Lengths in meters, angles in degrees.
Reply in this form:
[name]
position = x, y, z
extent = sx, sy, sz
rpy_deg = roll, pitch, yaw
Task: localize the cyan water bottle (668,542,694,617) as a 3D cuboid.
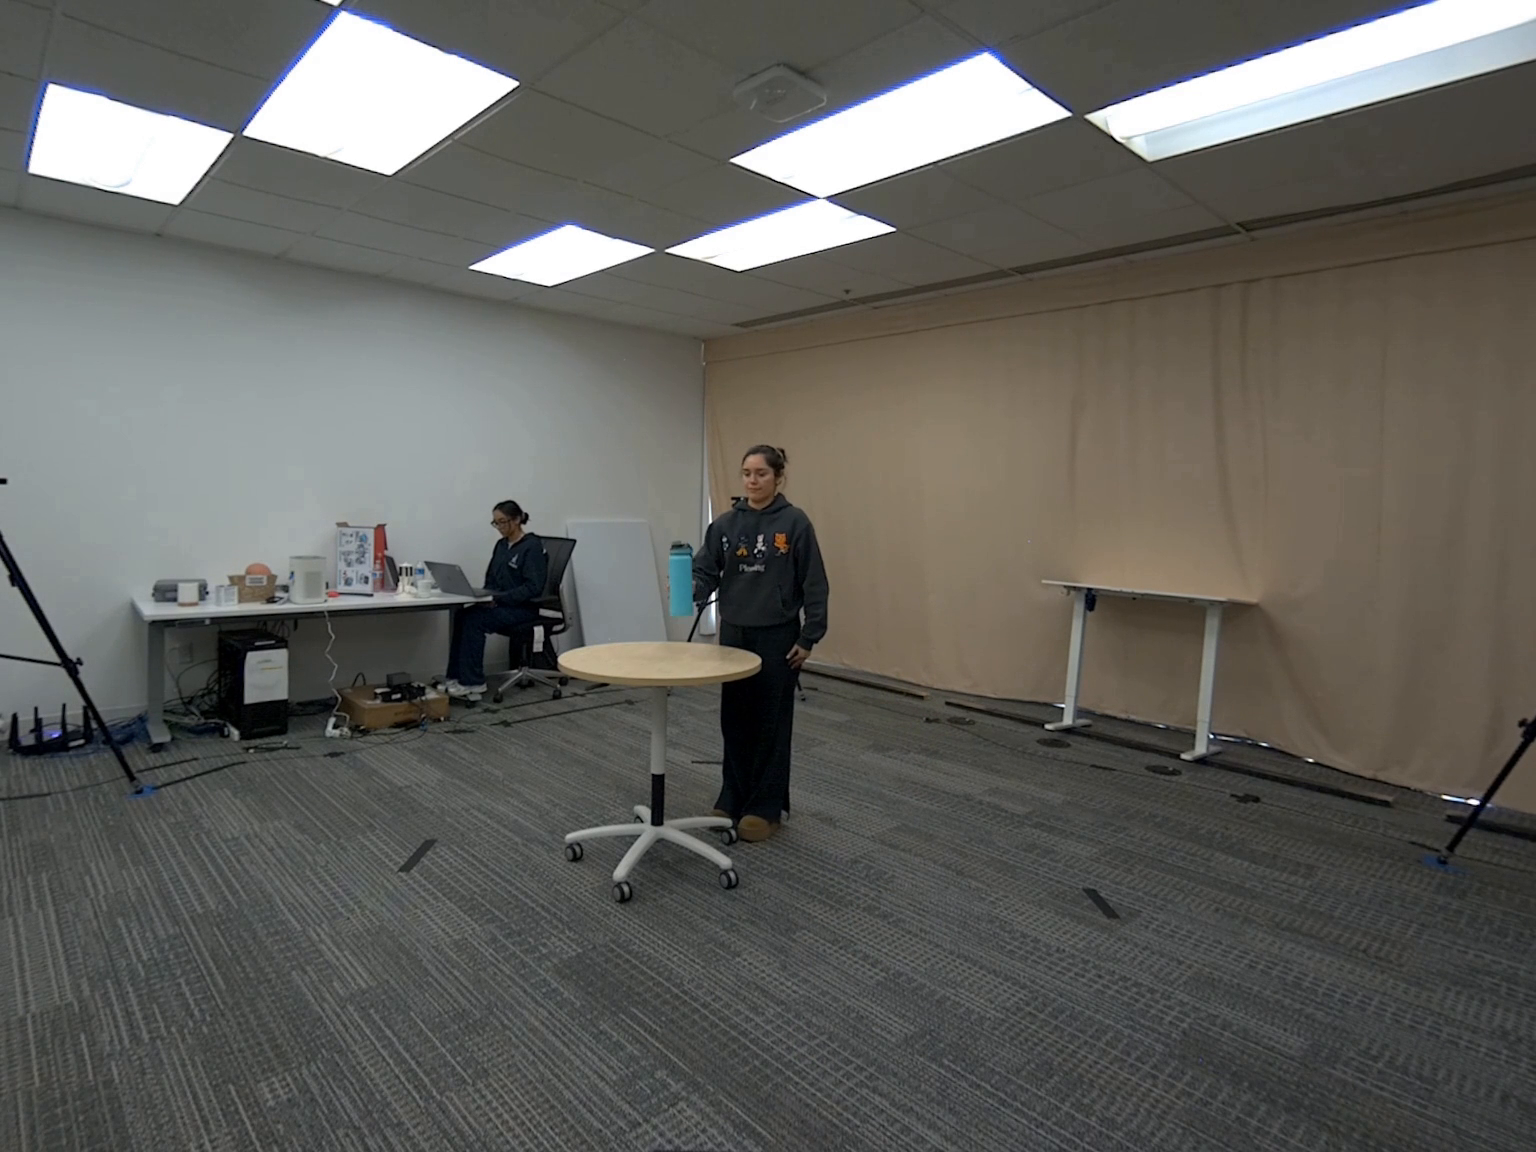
[cyan water bottle]
position = -0.342, 0.008, 3.196
extent = 0.092, 0.283, 0.092
rpy_deg = 0, -1, -1
